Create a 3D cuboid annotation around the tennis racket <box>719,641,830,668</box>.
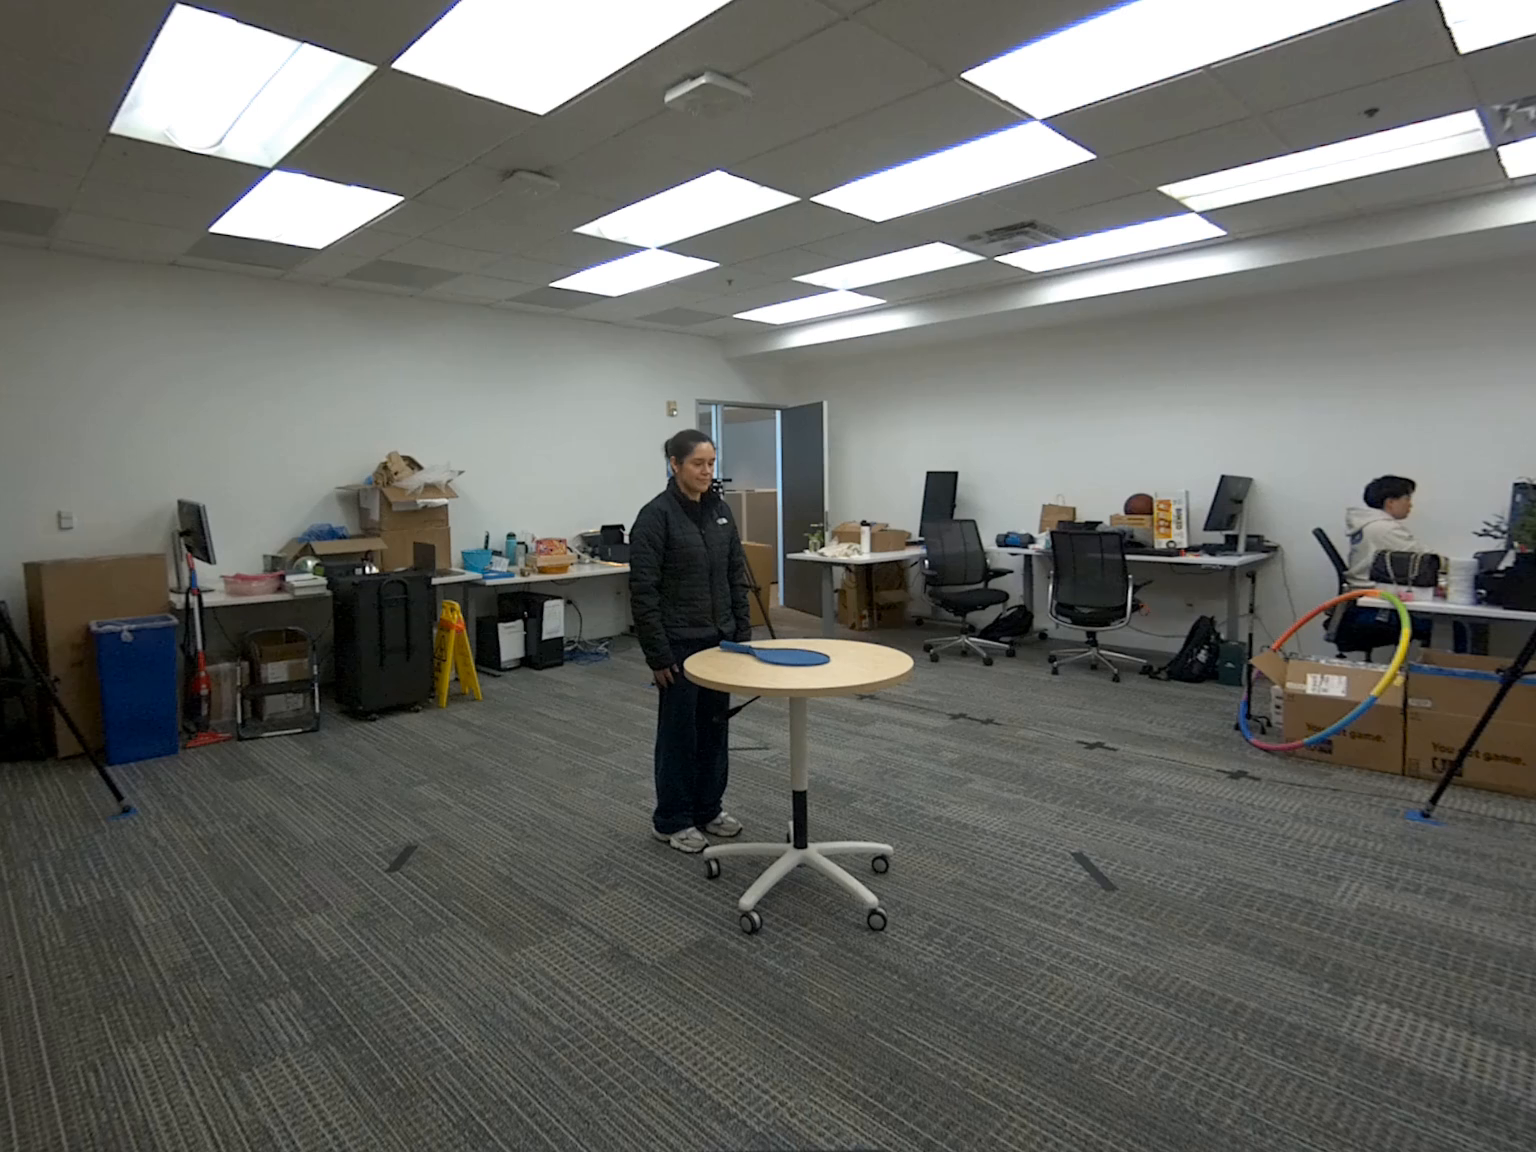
[{"bbox_3d":[0.015,0.273,2.937,0.445,0.031,0.208,4,8,35],"label":"tennis racket"}]
